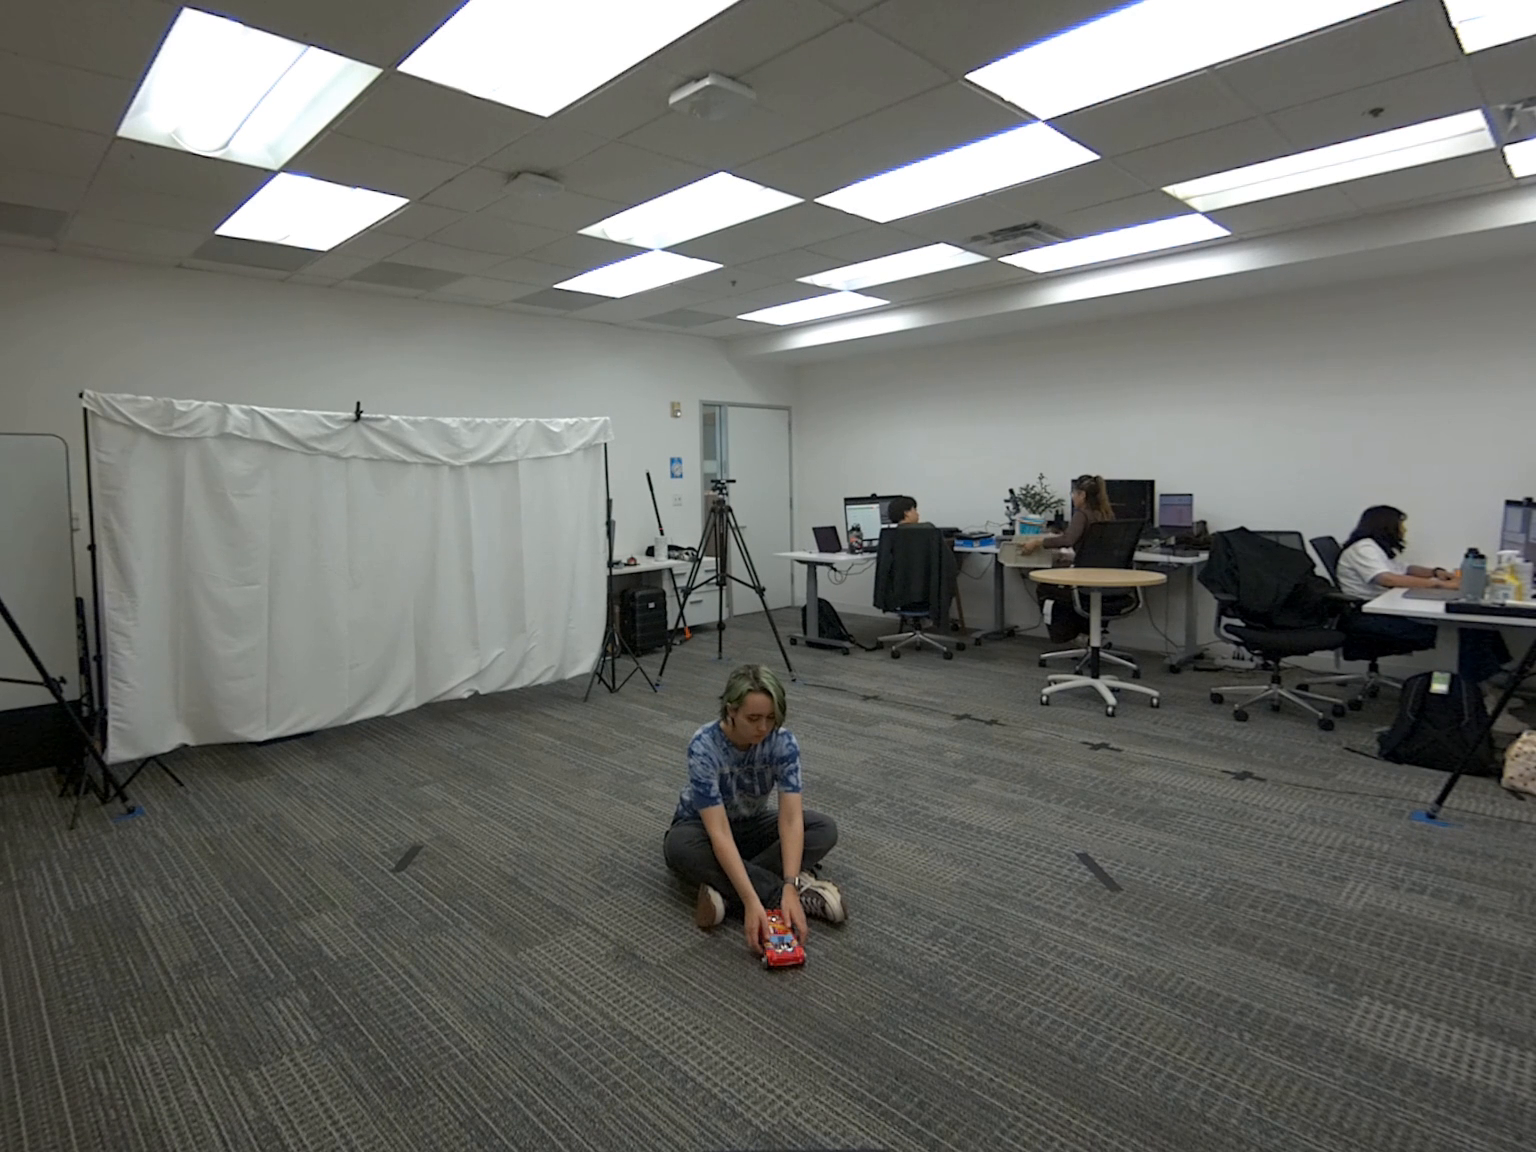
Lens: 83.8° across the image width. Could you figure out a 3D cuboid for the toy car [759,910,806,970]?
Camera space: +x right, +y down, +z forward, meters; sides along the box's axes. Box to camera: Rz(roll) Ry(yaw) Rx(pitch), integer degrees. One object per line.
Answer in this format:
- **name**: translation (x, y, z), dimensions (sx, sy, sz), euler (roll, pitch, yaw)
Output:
- **toy car**: translation (0.027, 1.090, 2.537), dimensions (0.129, 0.082, 0.260), euler (-2, 15, -9)
